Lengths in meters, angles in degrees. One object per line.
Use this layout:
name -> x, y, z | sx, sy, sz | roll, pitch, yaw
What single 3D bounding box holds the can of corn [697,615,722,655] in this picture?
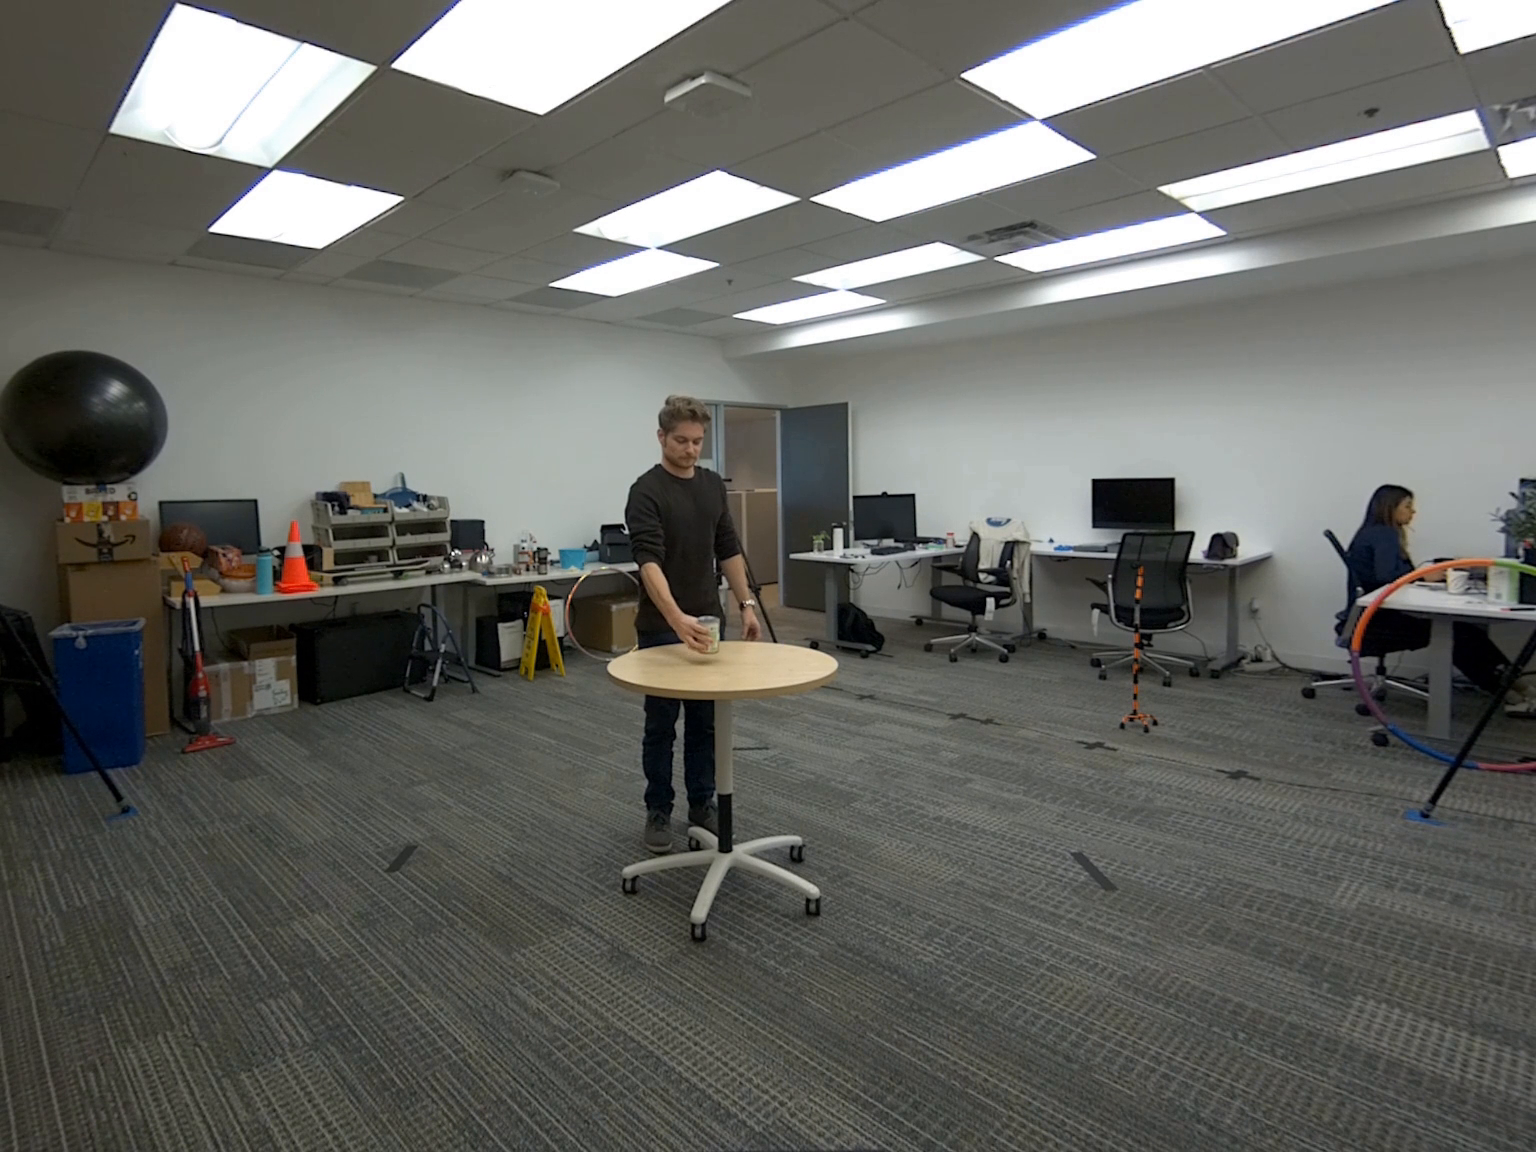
can of corn -> -0.207, 0.200, 2.856 | 0.074, 0.110, 0.075 | -1, 9, -2
